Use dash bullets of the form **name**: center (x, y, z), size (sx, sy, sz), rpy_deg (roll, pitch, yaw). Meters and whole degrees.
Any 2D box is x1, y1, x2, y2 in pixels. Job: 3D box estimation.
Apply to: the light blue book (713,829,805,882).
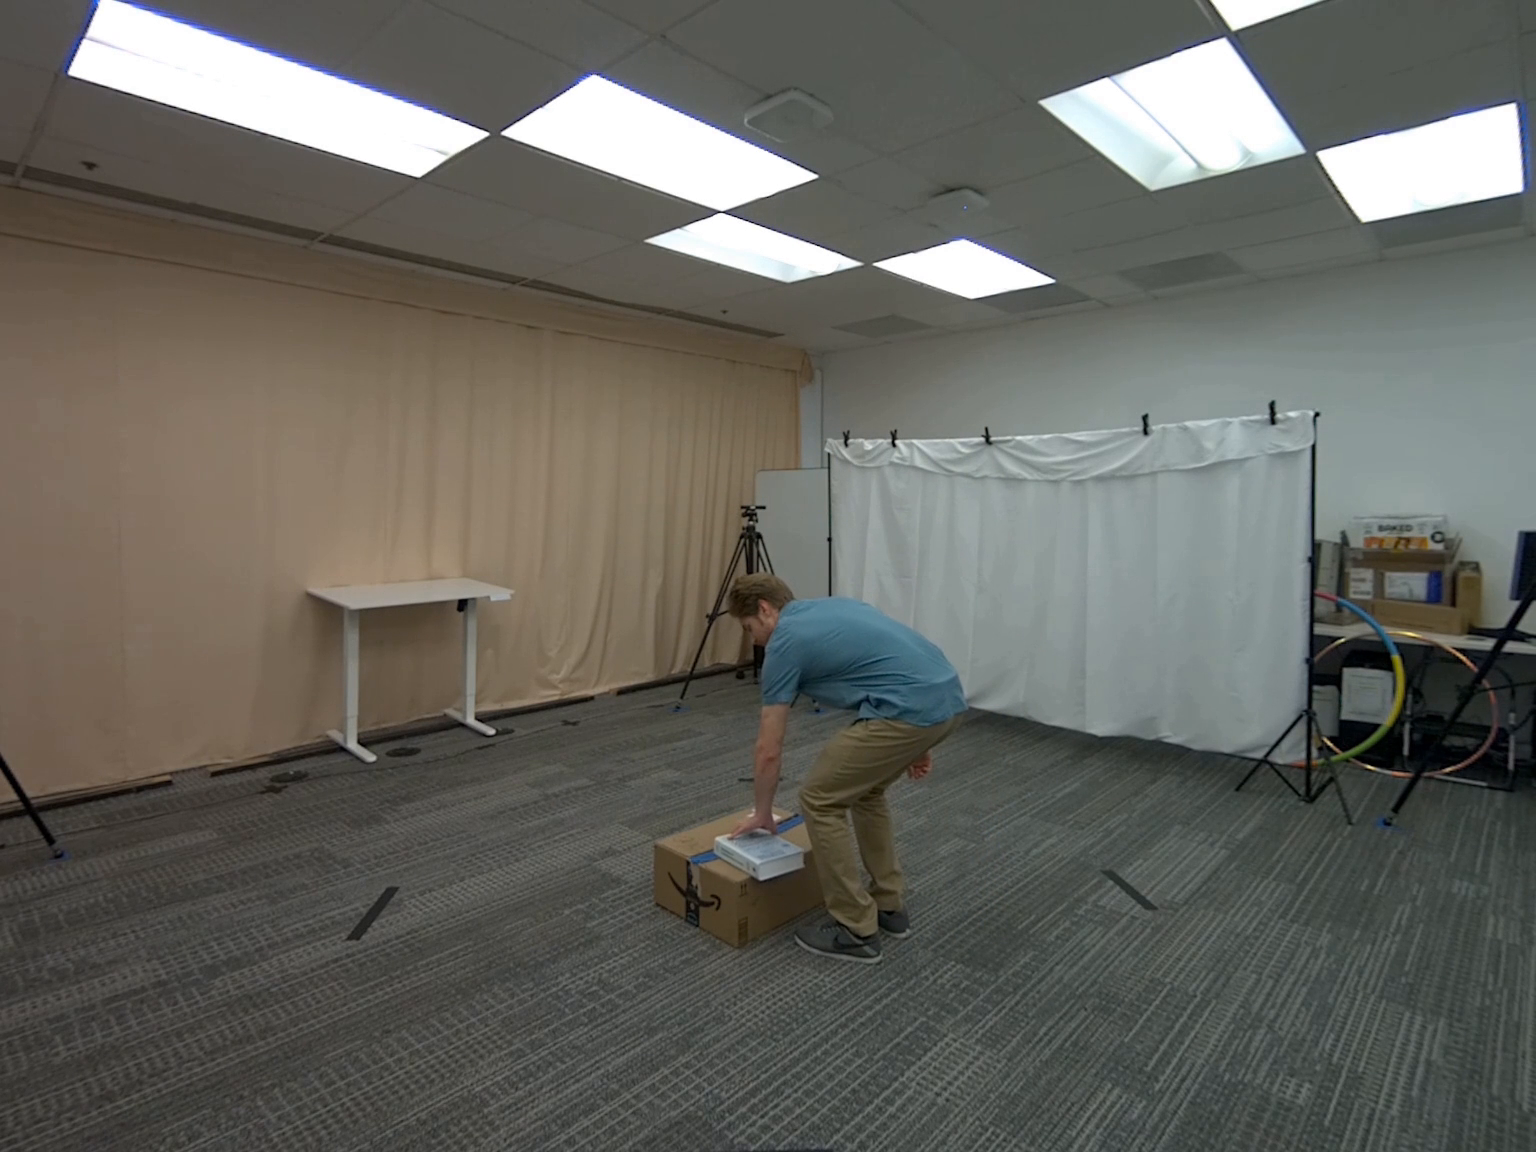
- **light blue book**: center (-0.029, 0.921, 2.795), size (0.186, 0.059, 0.269), rpy_deg (-3, 4, -36)
